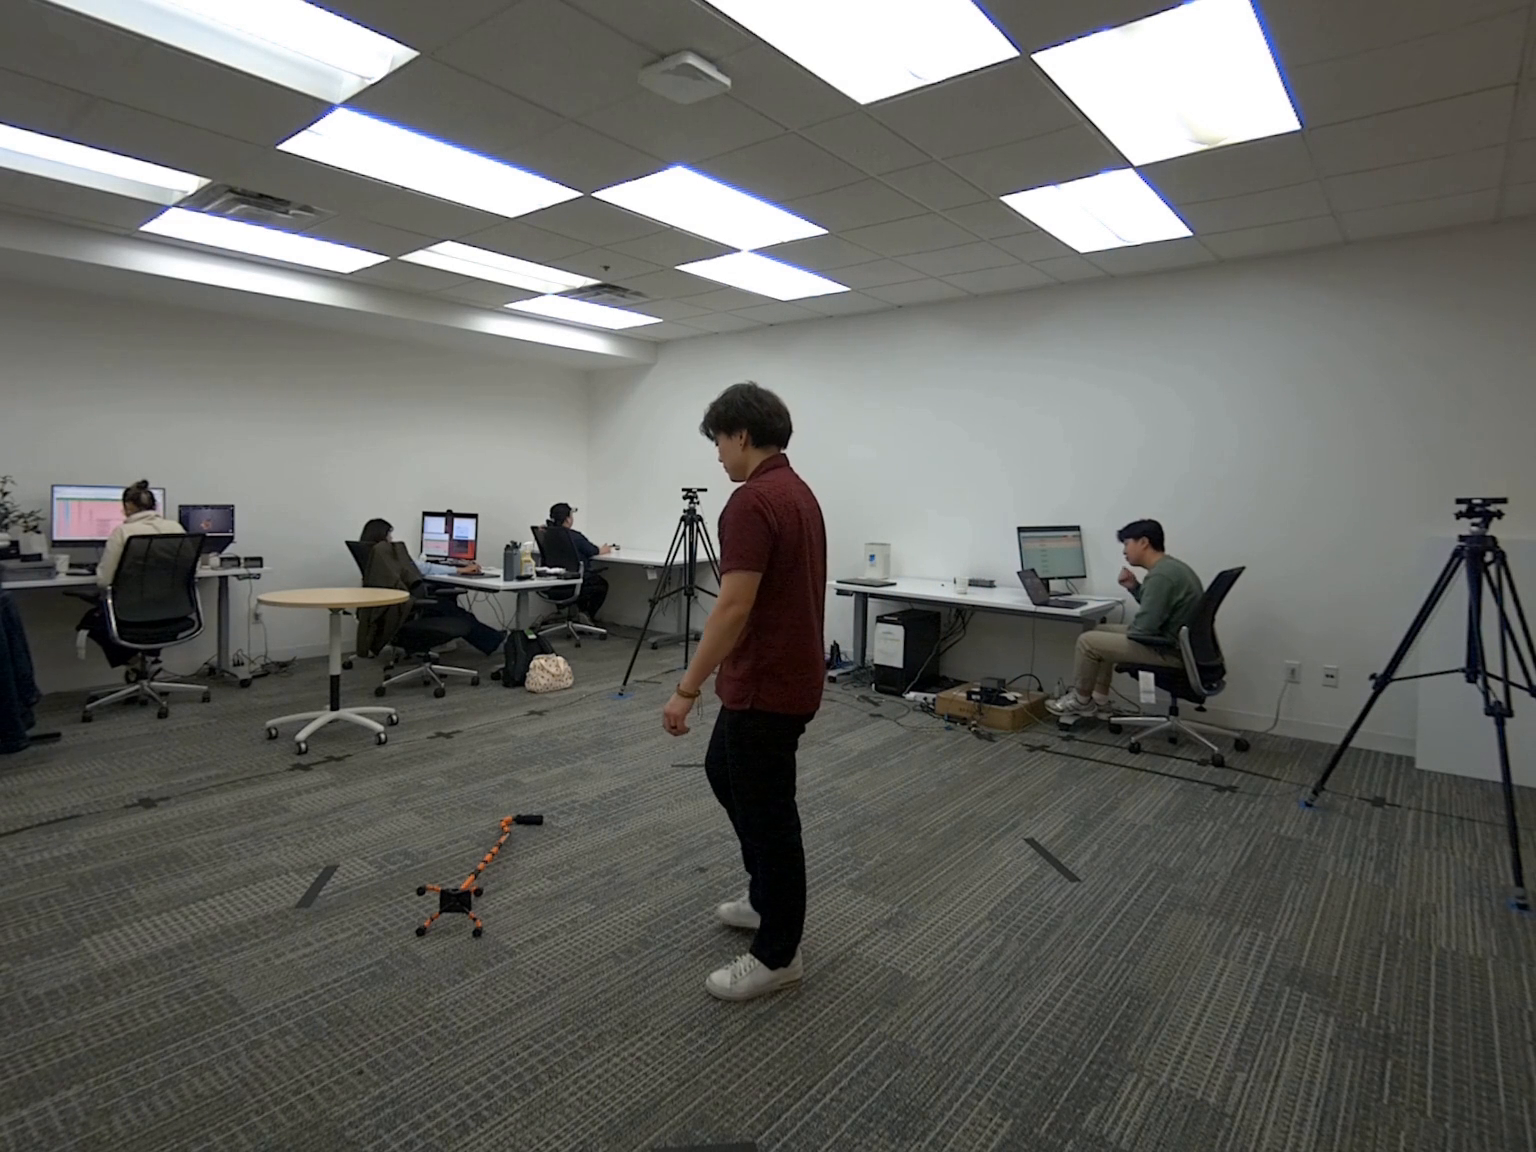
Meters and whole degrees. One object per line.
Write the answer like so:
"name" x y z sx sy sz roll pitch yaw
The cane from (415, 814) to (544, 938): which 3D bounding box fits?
"cane" -1.014 1.016 3.068 0.206 0.151 0.908 1 1 -3
